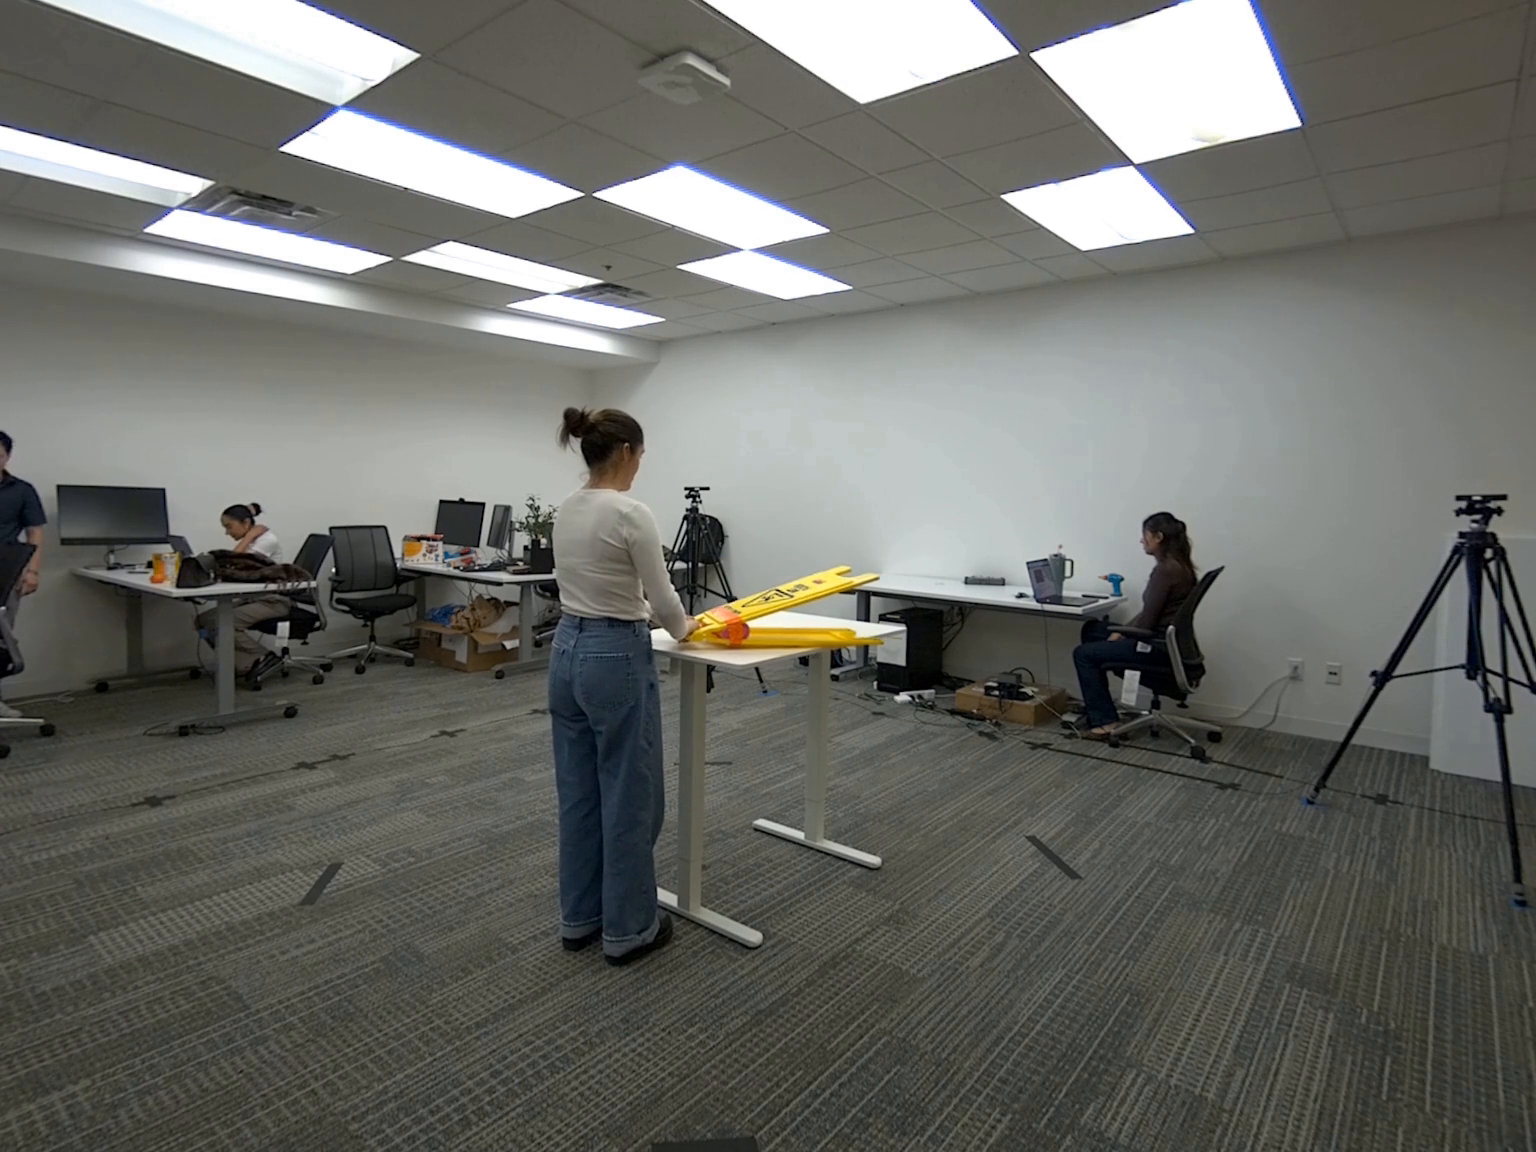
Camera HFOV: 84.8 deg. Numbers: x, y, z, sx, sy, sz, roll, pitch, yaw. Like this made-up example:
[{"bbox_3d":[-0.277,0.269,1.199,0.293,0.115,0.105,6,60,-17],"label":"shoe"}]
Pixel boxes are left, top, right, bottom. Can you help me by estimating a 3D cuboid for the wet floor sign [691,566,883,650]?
[{"bbox_3d":[0.012,0.149,2.827,0.636,0.287,0.289,-8,8,-17],"label":"wet floor sign"}]
